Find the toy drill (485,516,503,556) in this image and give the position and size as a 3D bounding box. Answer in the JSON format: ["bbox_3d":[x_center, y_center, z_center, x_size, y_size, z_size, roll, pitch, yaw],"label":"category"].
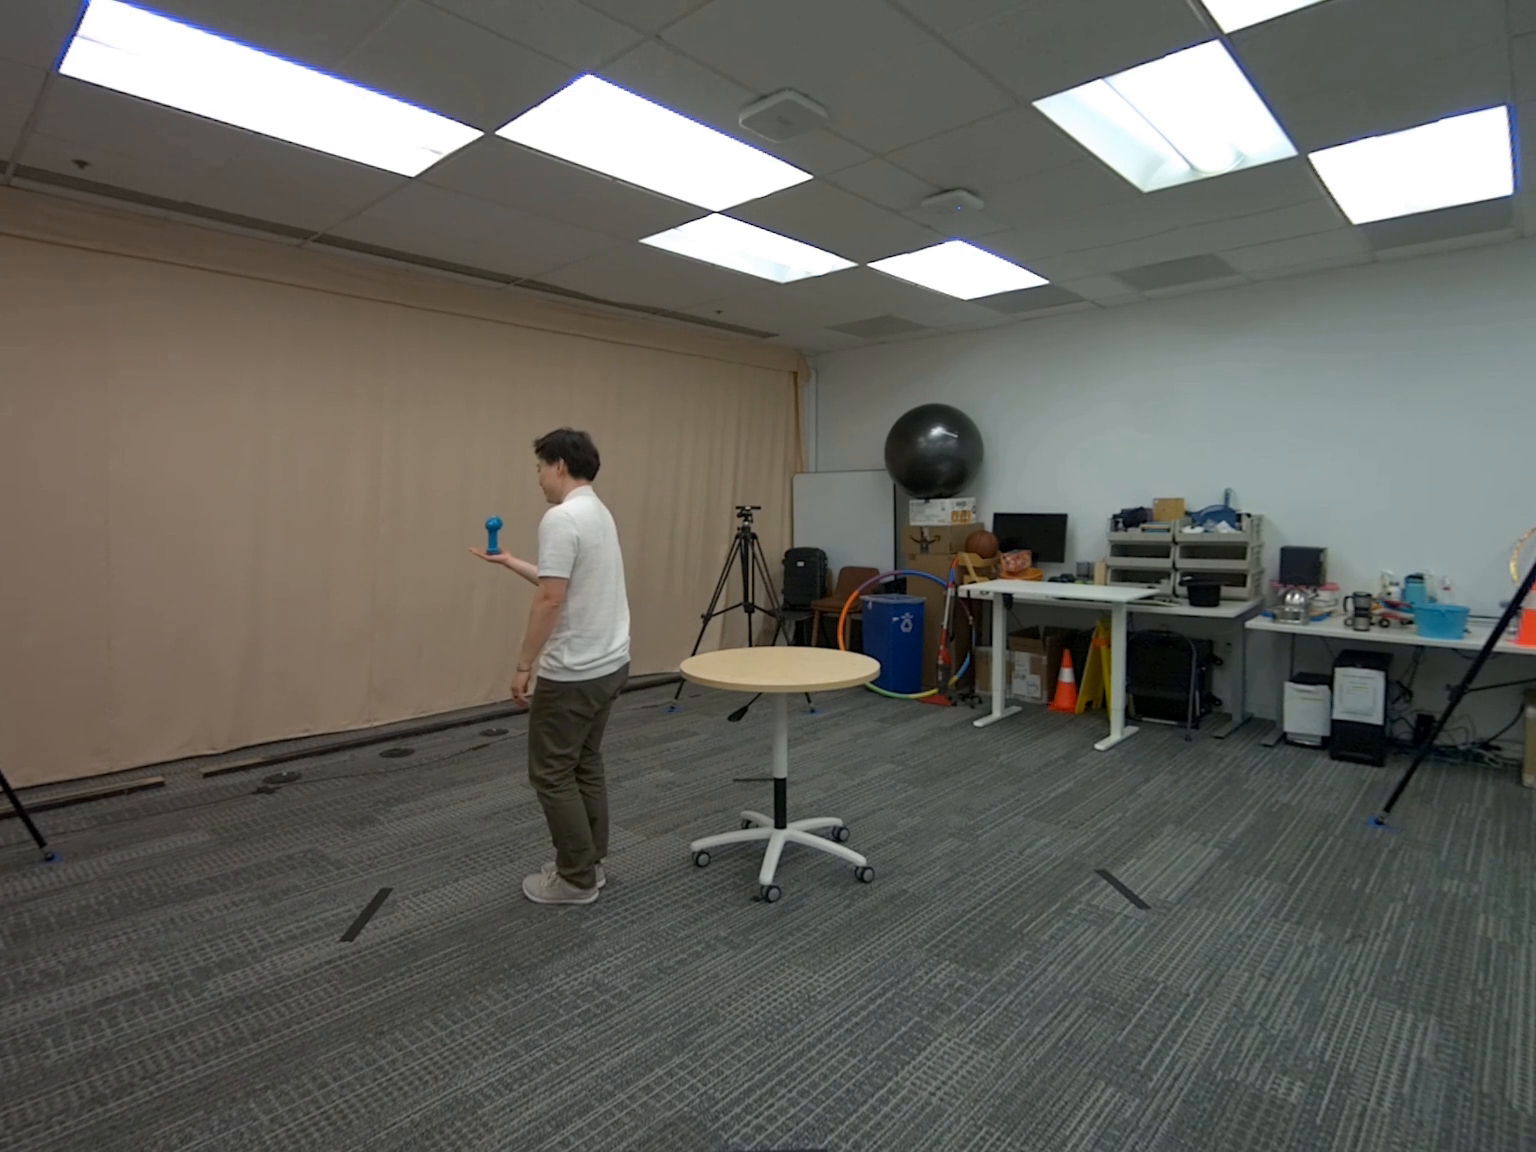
[{"bbox_3d":[-1.053,-0.162,3.261,0.061,0.145,0.172,5,8,-8],"label":"toy drill"}]
